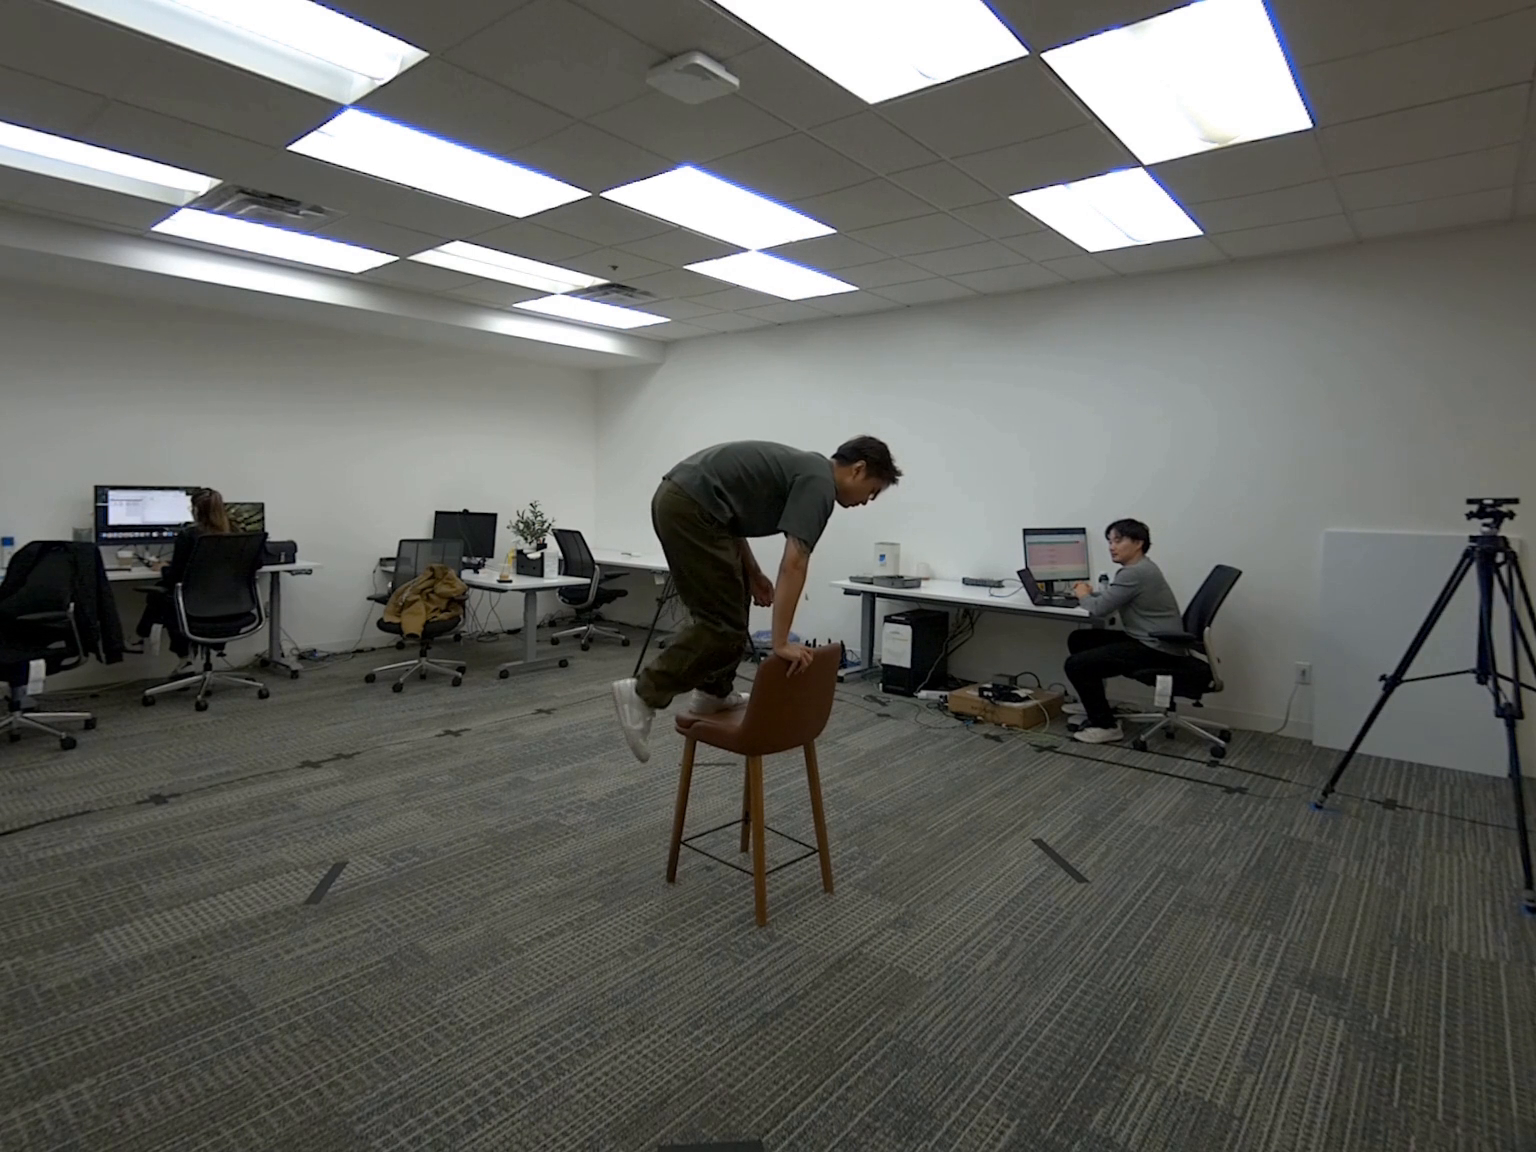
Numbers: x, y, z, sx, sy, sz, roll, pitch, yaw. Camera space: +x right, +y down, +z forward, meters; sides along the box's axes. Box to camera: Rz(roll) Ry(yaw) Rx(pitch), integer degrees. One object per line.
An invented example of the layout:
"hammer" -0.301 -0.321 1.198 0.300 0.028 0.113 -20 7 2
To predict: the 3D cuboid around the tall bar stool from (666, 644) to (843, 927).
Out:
"tall bar stool" -0.054 0.649 2.957 0.484 0.886 0.442 7 6 44
